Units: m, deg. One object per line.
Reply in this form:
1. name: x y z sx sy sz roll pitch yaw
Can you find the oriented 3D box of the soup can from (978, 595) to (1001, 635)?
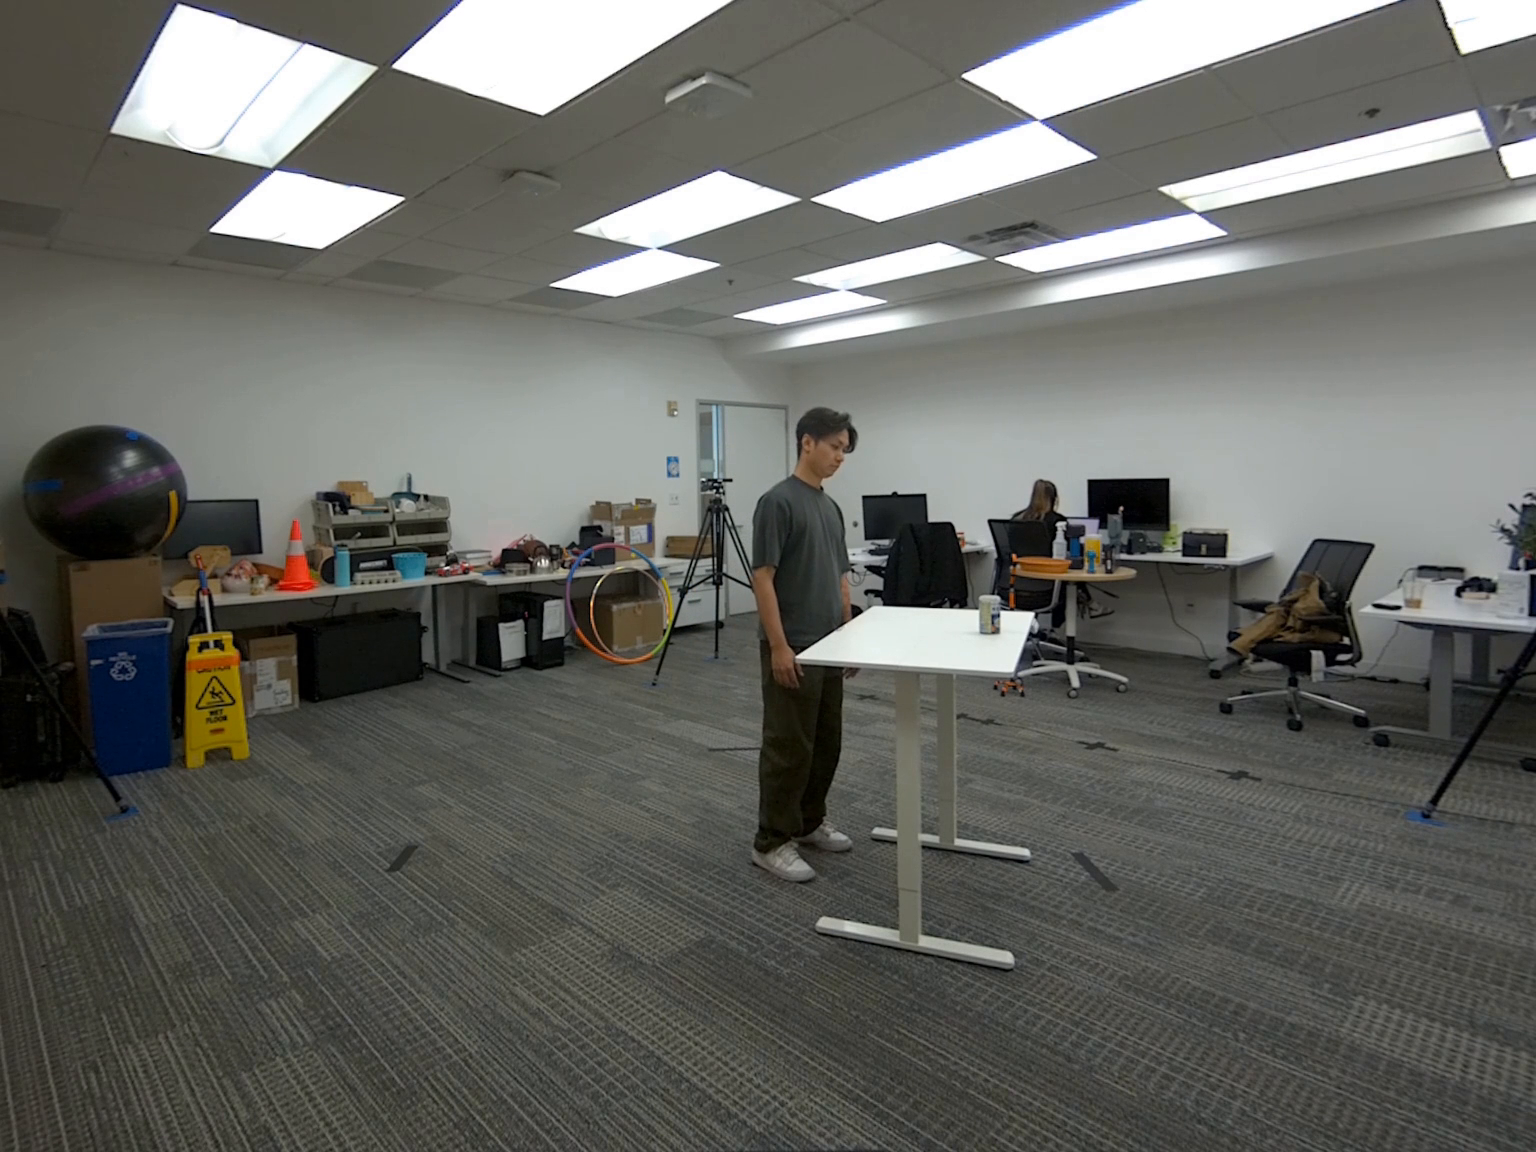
1. soup can: 0.721 0.127 2.774 0.067 0.121 0.067 1 4 -2
